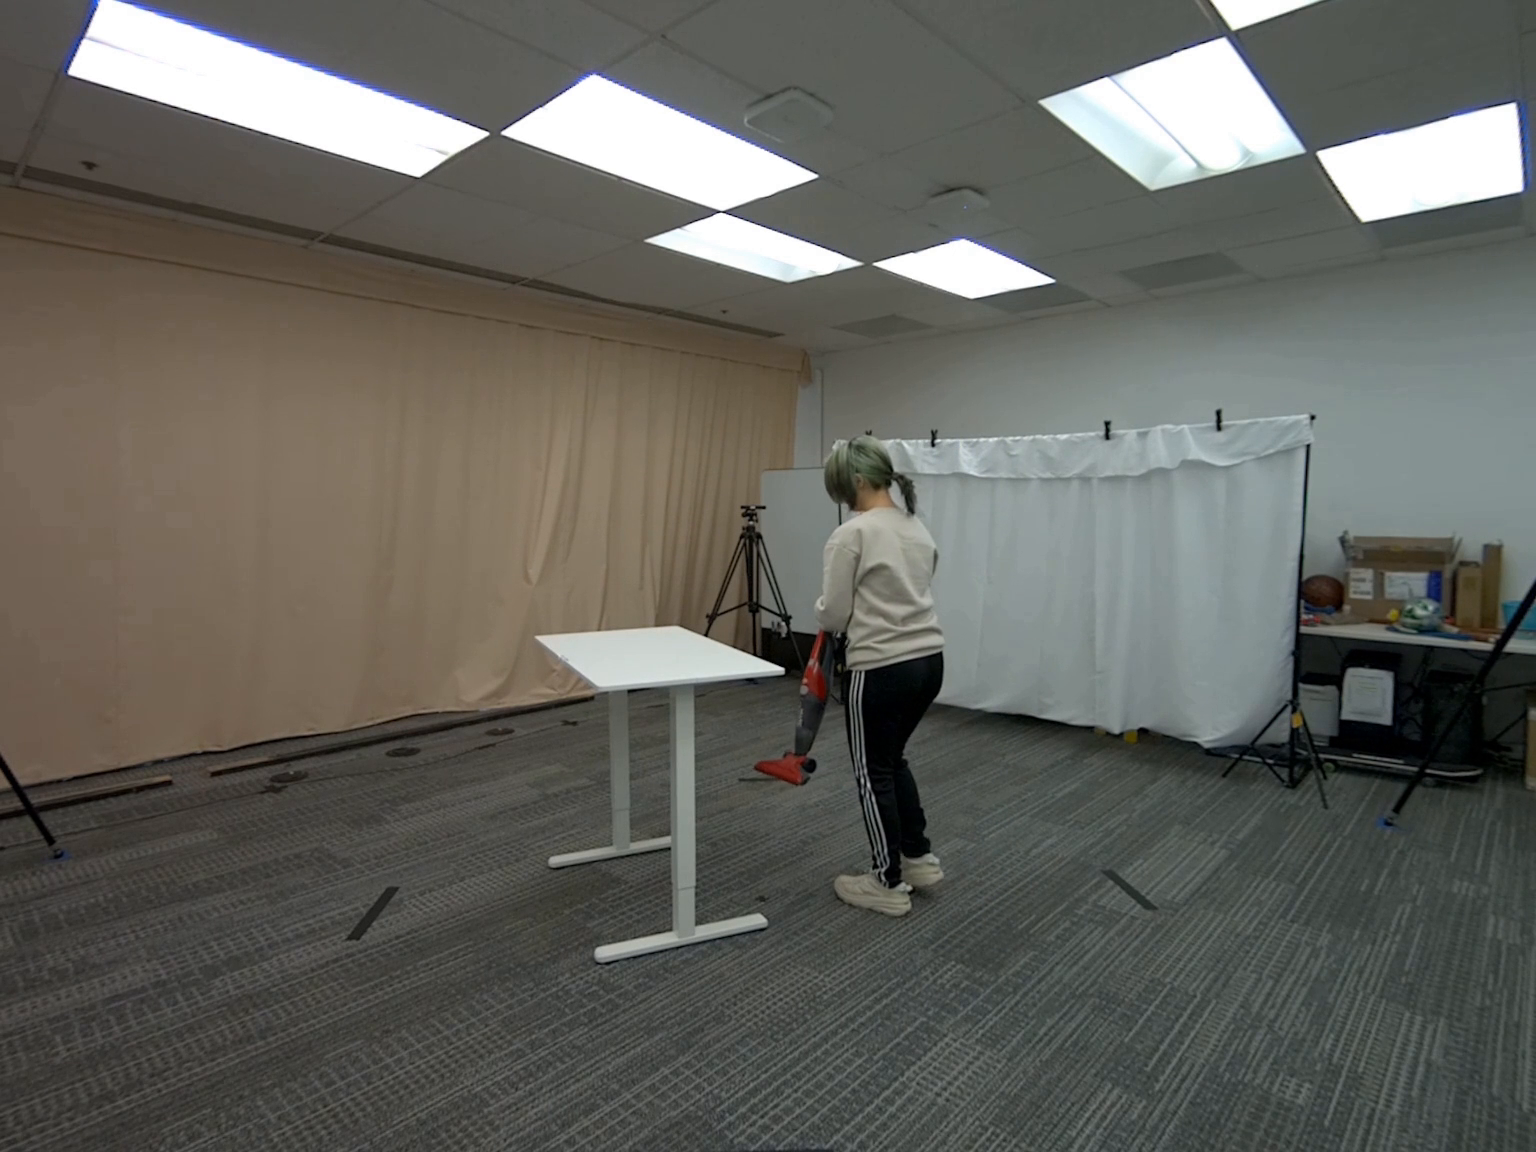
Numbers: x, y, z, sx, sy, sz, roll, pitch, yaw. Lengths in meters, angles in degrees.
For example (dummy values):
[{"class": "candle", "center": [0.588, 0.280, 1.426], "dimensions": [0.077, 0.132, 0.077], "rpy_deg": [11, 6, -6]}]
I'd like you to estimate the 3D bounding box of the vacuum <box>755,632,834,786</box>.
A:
[{"class": "vacuum", "center": [0.244, 0.221, 3.152], "dimensions": [0.139, 1.053, 0.261], "rpy_deg": [29, -18, -39]}]
